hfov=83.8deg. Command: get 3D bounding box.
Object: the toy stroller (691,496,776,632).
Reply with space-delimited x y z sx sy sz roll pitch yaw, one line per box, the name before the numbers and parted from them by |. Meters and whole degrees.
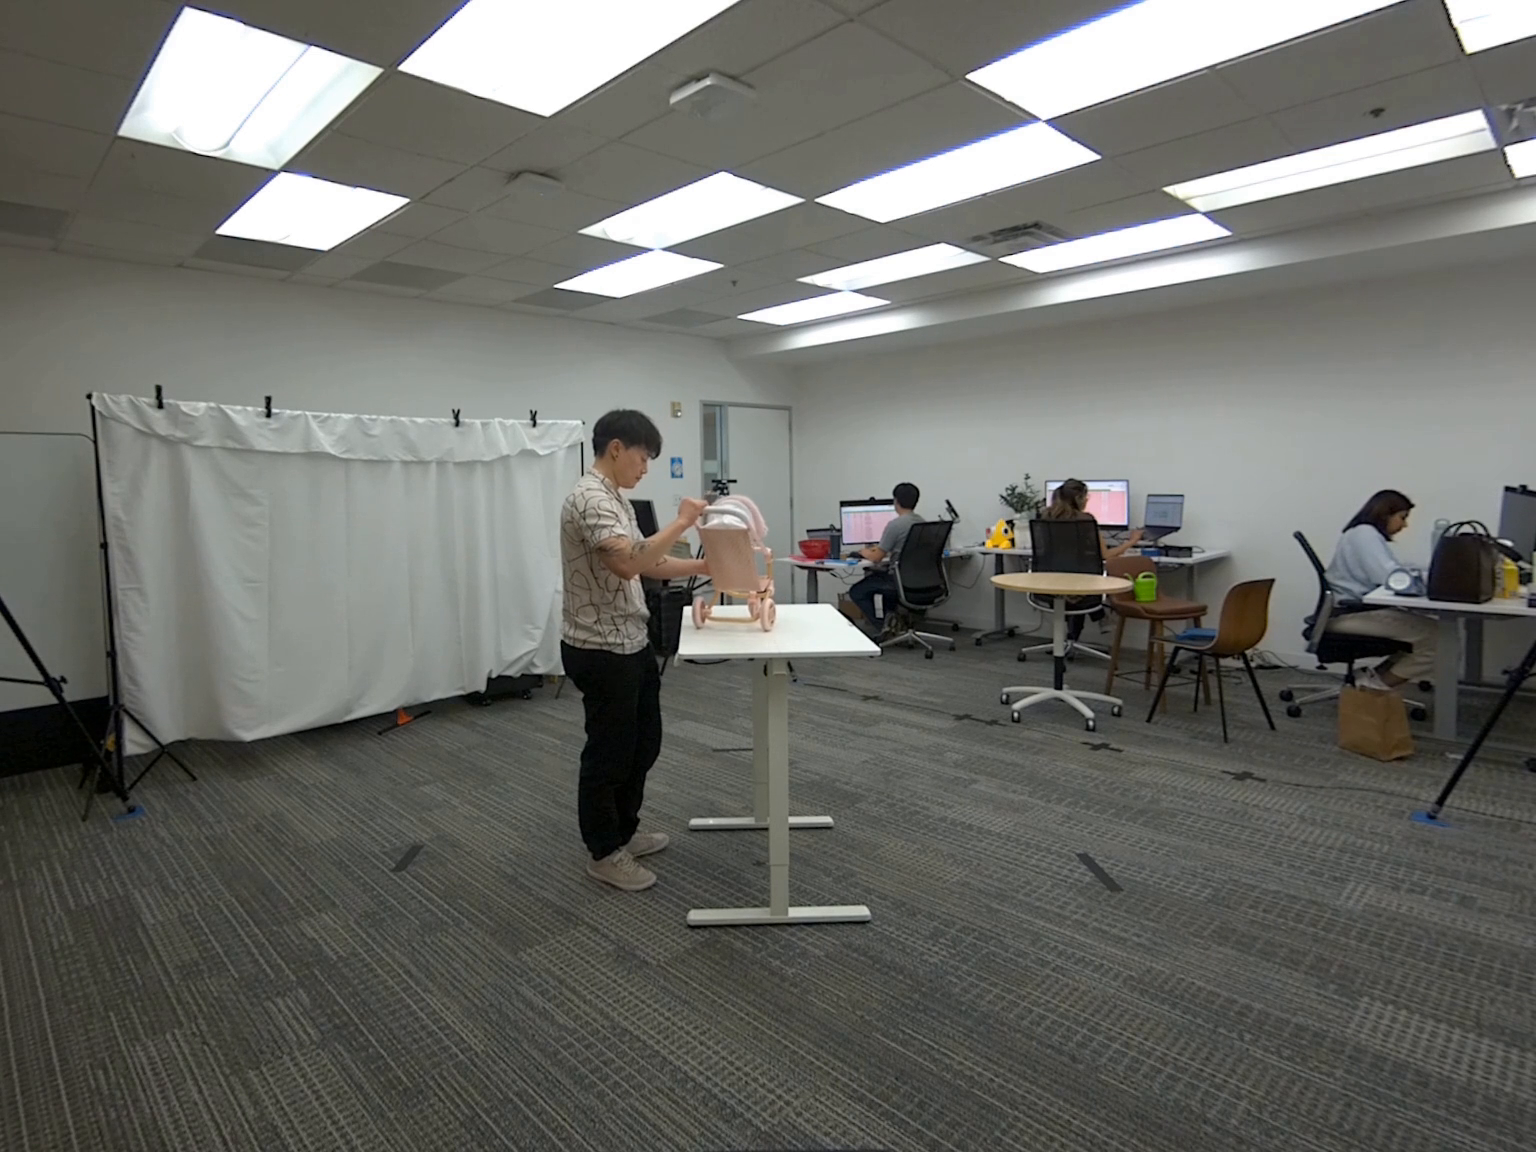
toy stroller | -0.106 -0.045 2.989 0.287 0.525 0.340 1 20 22
